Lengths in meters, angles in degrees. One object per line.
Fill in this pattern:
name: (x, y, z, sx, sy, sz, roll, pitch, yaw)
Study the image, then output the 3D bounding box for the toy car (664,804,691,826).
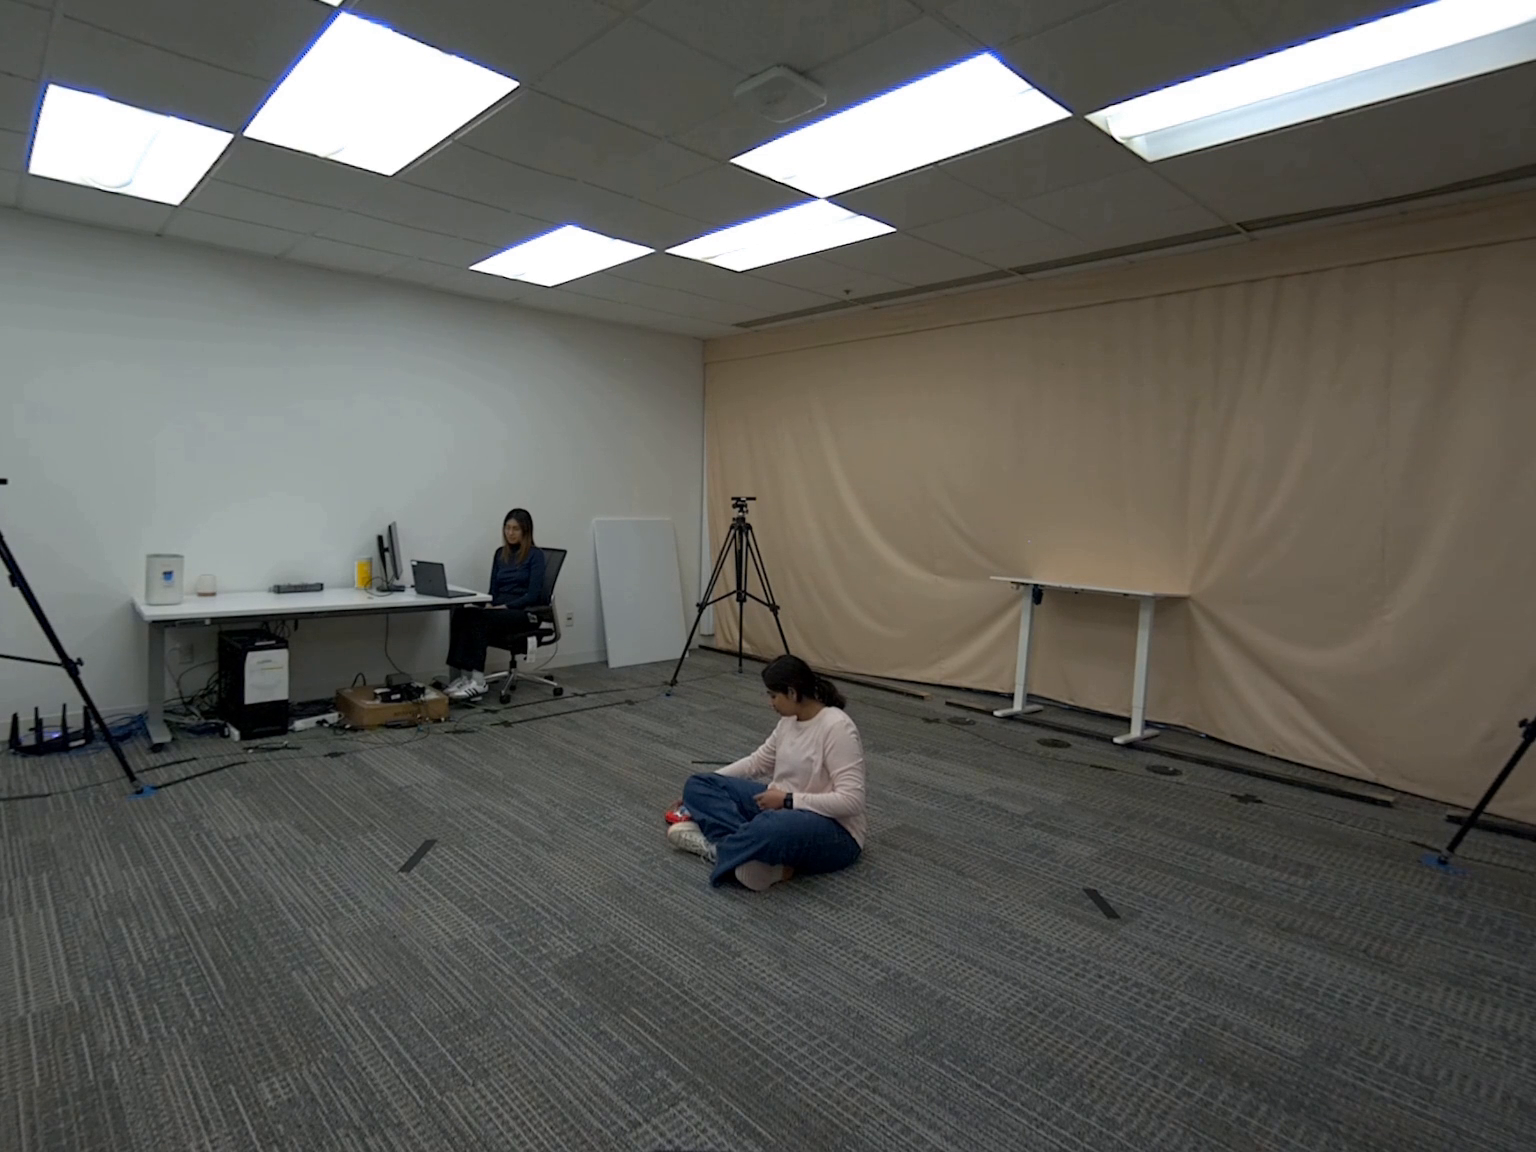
toy car: (-0.325, 1.020, 3.637, 0.133, 0.082, 0.250, 5, 16, 40)
